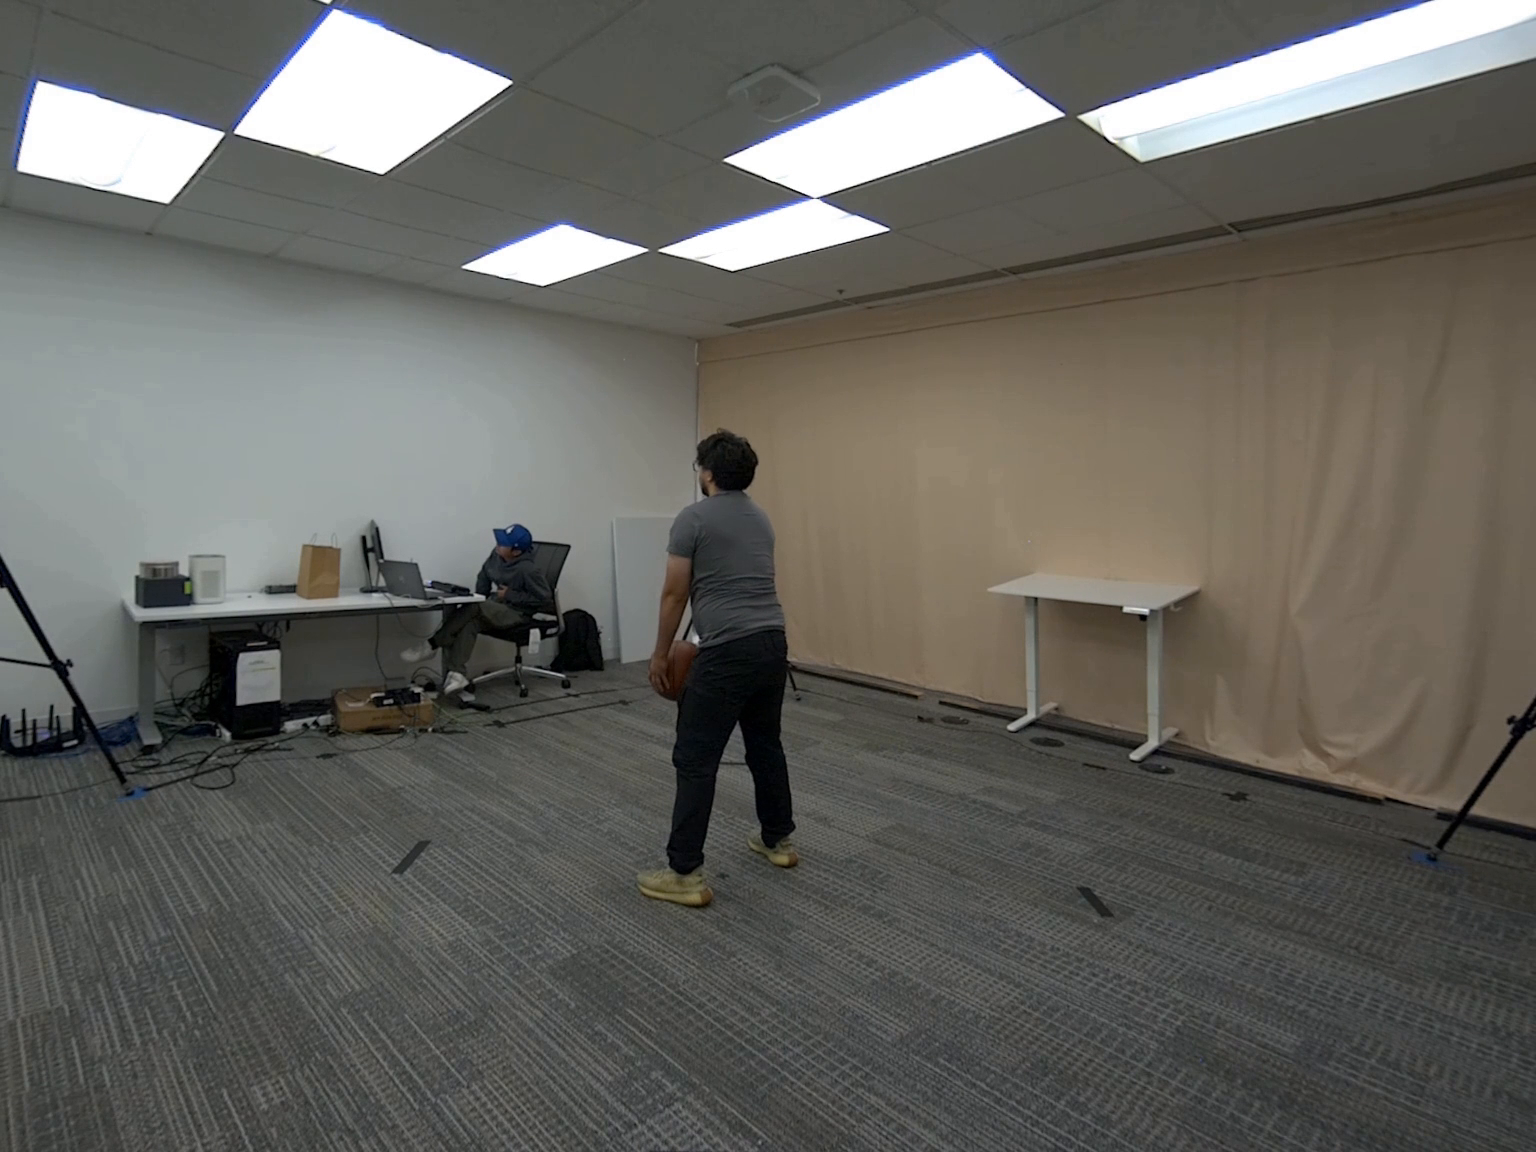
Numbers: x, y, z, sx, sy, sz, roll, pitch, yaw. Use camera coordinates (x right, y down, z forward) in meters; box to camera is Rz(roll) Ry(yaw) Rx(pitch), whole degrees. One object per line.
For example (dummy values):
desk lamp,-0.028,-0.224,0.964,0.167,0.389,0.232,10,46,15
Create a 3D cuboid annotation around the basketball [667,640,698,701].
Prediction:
basketball,-0.346,0.371,3.295,0.236,0.235,0.237,1,4,-1
